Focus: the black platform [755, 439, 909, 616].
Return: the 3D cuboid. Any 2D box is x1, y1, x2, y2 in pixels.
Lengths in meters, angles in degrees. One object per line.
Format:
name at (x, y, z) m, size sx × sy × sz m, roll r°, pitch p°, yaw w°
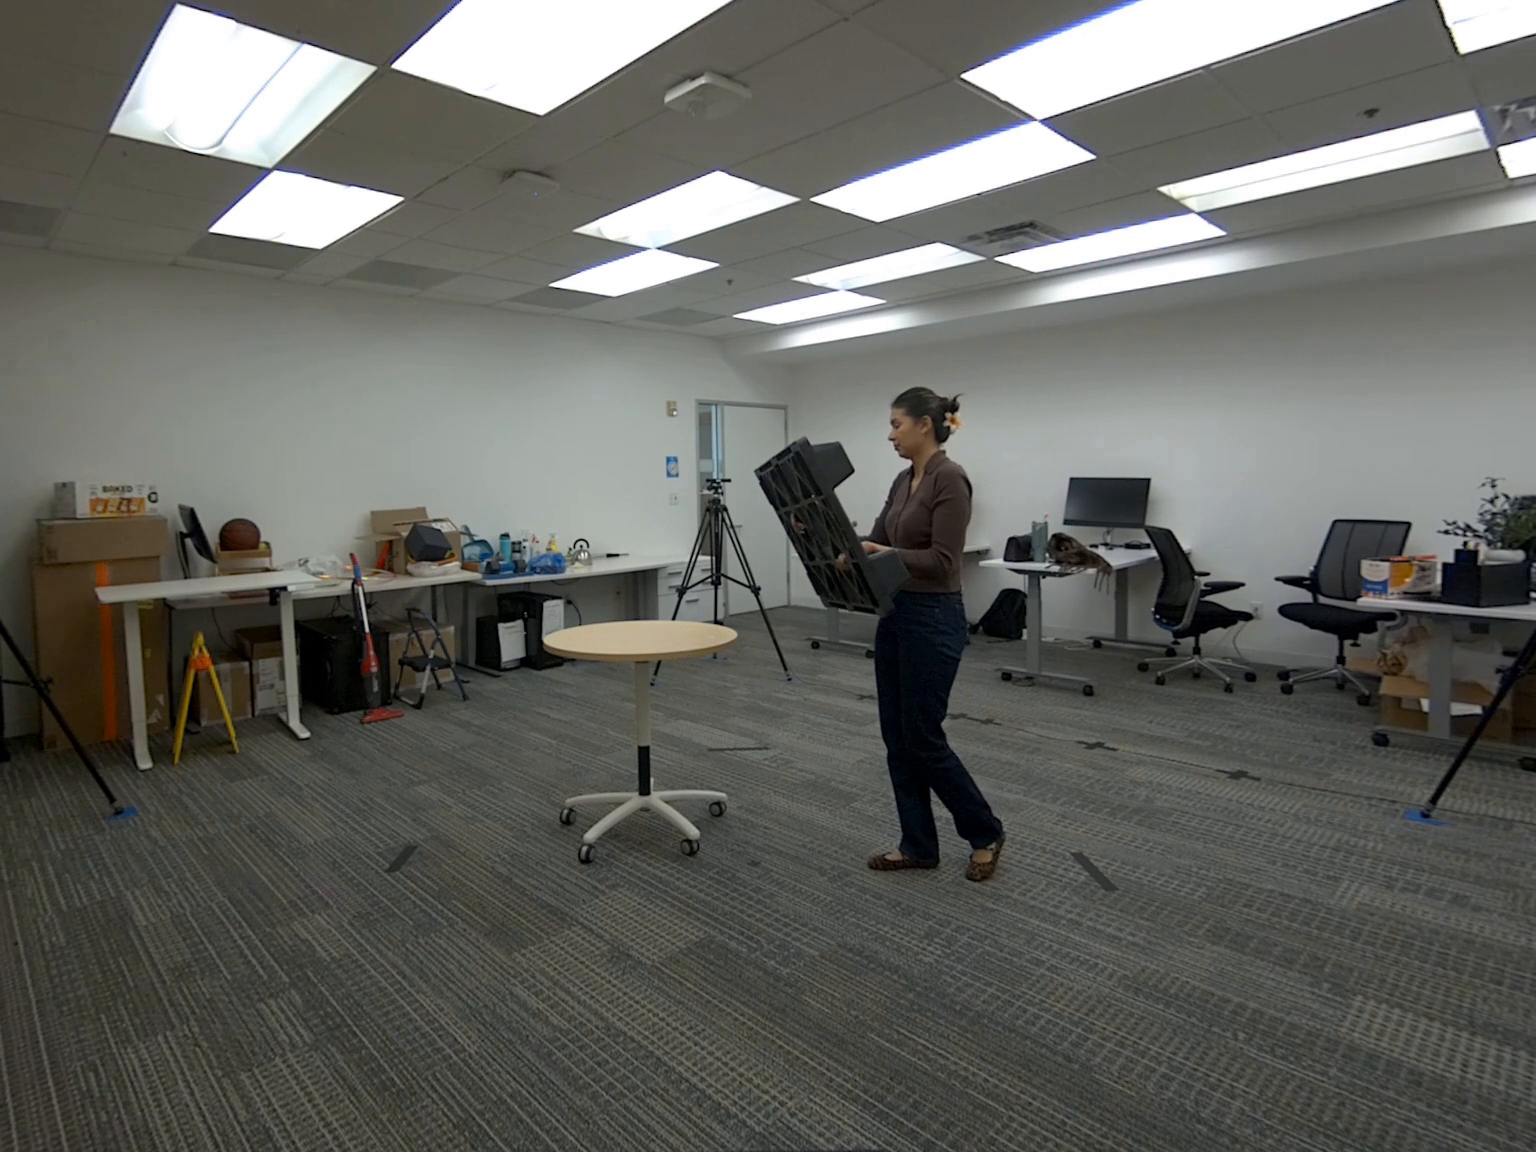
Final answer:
black platform at (0.214, -0.165, 2.946) m, size 0.143 × 0.604 × 0.811 m, roll -27°, pitch 3°, yaw -9°
